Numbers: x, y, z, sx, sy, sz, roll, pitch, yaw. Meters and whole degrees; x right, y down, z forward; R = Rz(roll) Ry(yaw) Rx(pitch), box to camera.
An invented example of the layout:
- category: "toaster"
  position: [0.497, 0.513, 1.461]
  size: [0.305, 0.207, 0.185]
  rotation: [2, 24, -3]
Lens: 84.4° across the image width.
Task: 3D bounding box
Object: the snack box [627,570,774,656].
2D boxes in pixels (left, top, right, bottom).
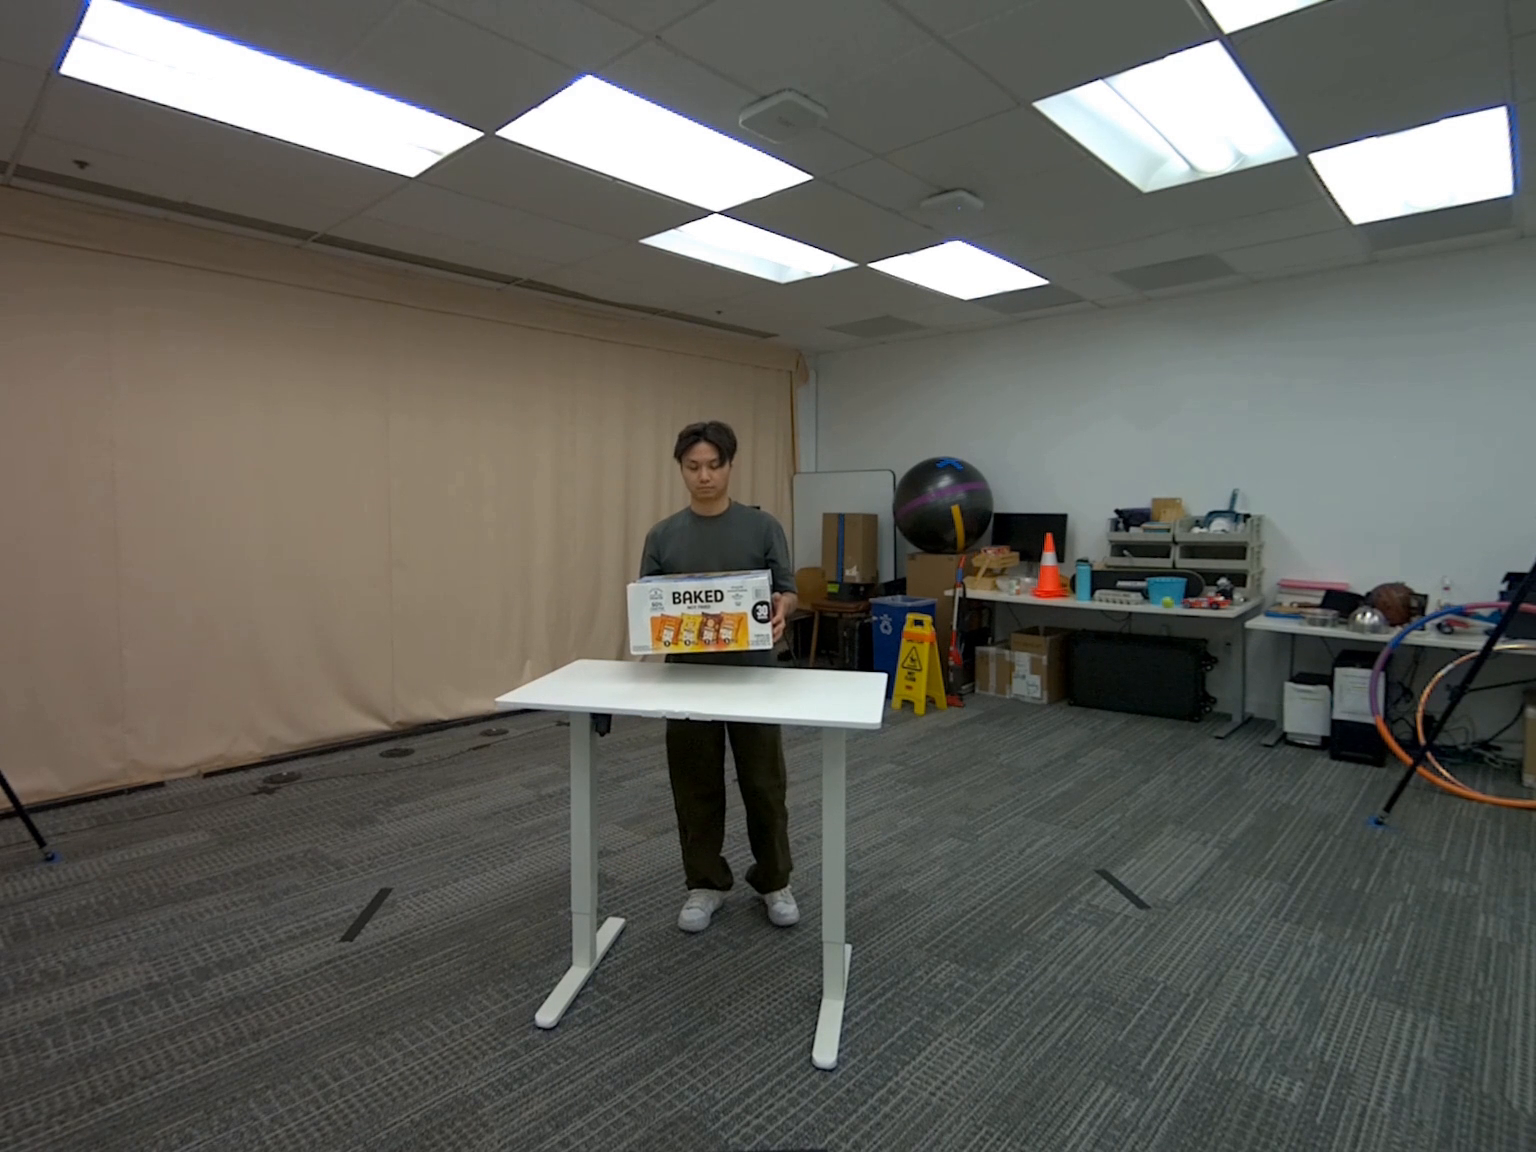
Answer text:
- category: "snack box"
  position: [-0.186, 0.102, 2.542]
  size: [0.407, 0.205, 0.339]
  rotation: [-3, 3, 3]
